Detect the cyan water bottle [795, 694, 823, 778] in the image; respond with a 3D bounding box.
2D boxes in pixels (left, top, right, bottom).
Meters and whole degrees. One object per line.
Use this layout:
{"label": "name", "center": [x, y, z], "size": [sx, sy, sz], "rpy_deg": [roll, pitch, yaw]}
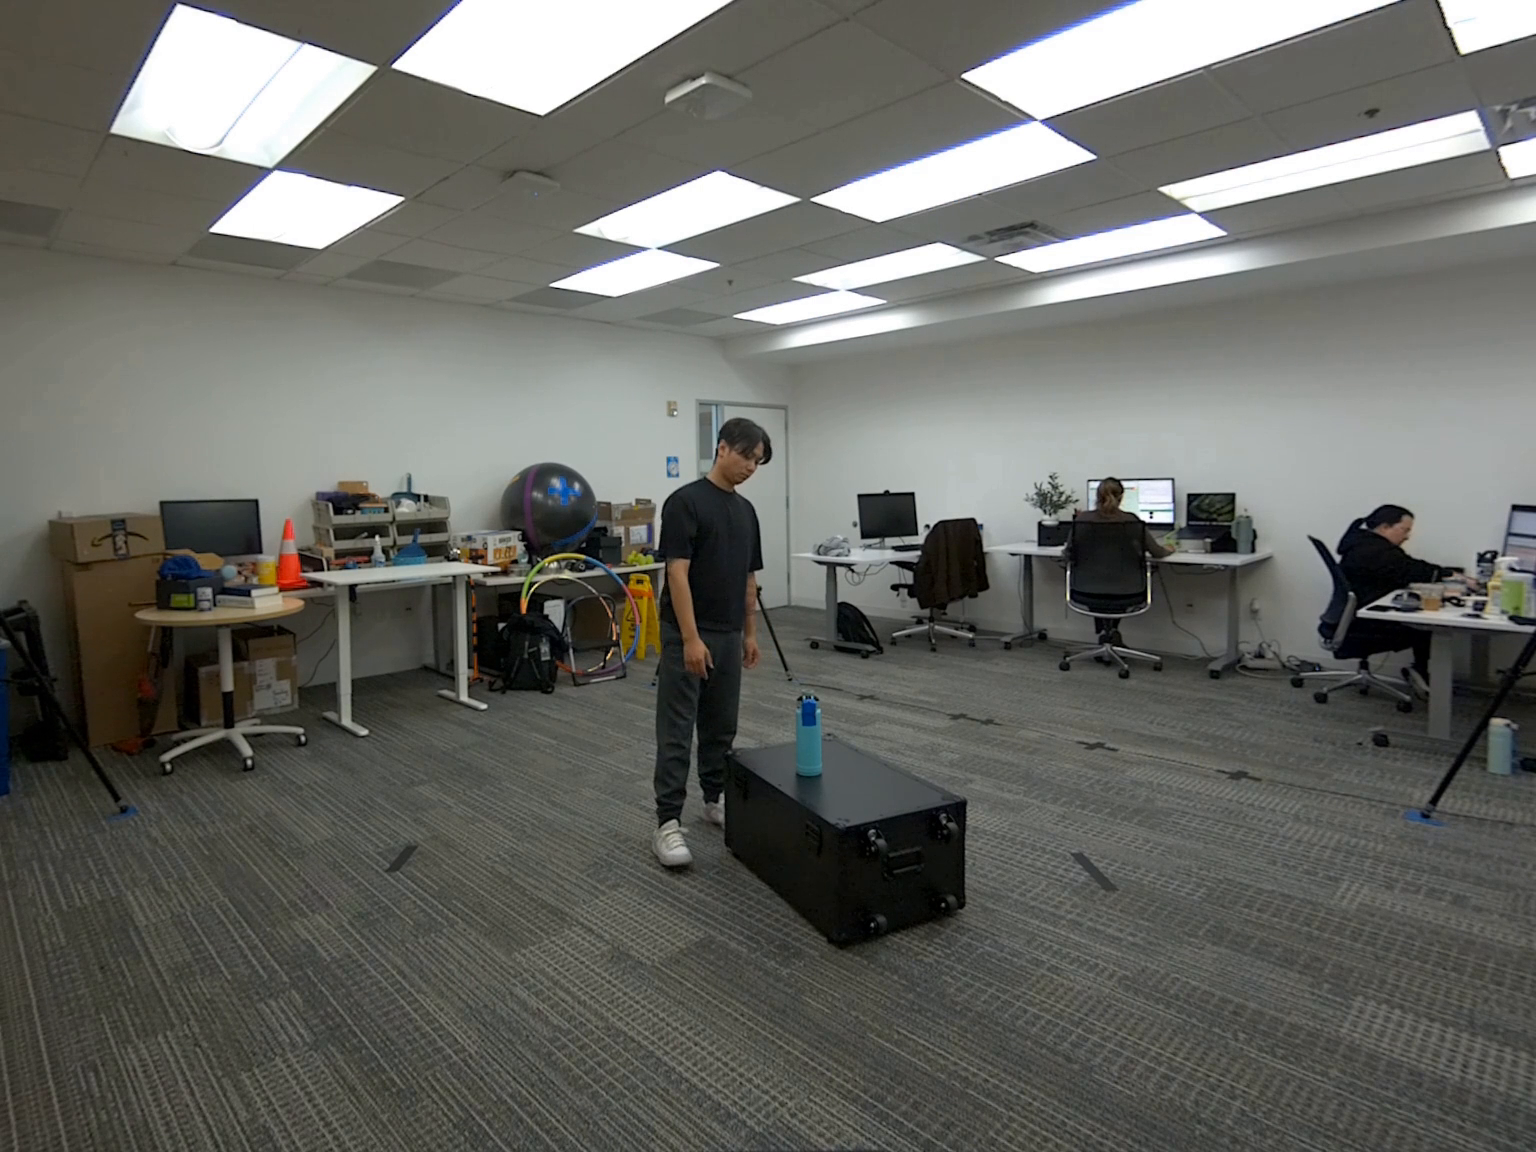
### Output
{"label": "cyan water bottle", "center": [0.150, 0.545, 2.963], "size": [0.092, 0.282, 0.093], "rpy_deg": [-2, 5, -1]}
